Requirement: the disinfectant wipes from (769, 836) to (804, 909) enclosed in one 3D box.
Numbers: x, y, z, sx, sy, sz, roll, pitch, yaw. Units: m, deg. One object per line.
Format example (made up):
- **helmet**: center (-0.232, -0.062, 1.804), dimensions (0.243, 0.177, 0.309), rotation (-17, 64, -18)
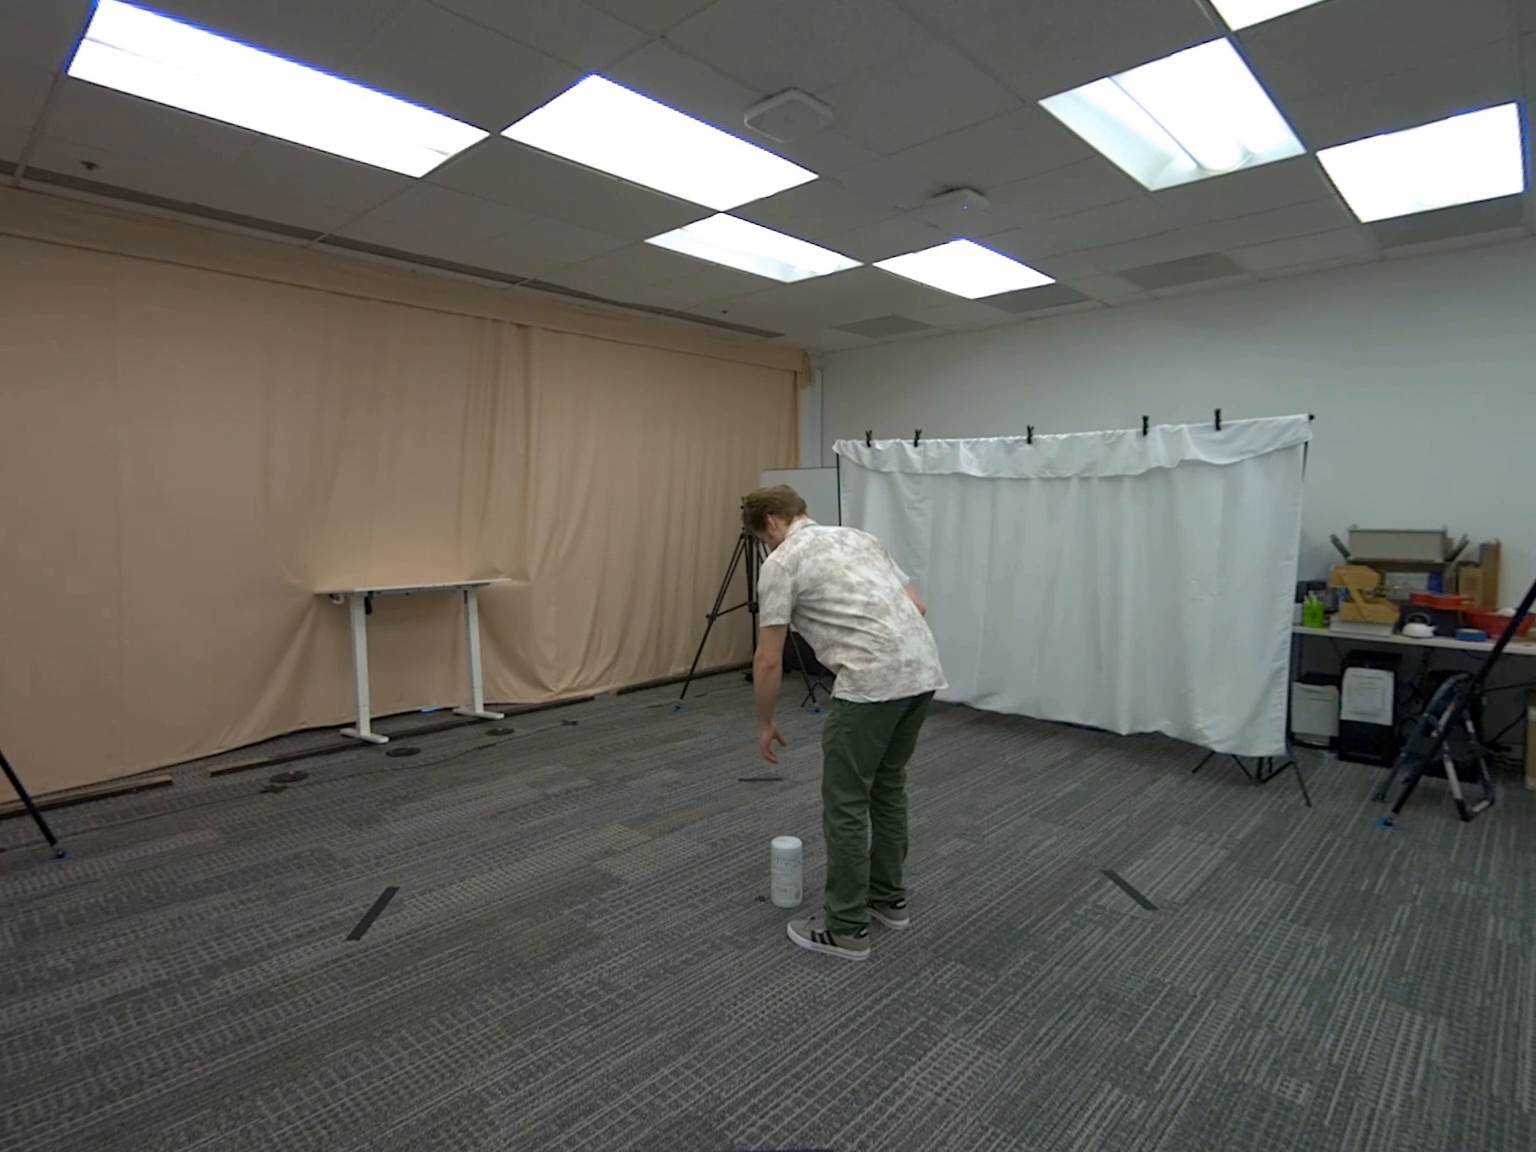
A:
- **disinfectant wipes**: center (0.070, 1.040, 2.956), dimensions (0.118, 0.217, 0.118), rotation (-1, 4, -2)
